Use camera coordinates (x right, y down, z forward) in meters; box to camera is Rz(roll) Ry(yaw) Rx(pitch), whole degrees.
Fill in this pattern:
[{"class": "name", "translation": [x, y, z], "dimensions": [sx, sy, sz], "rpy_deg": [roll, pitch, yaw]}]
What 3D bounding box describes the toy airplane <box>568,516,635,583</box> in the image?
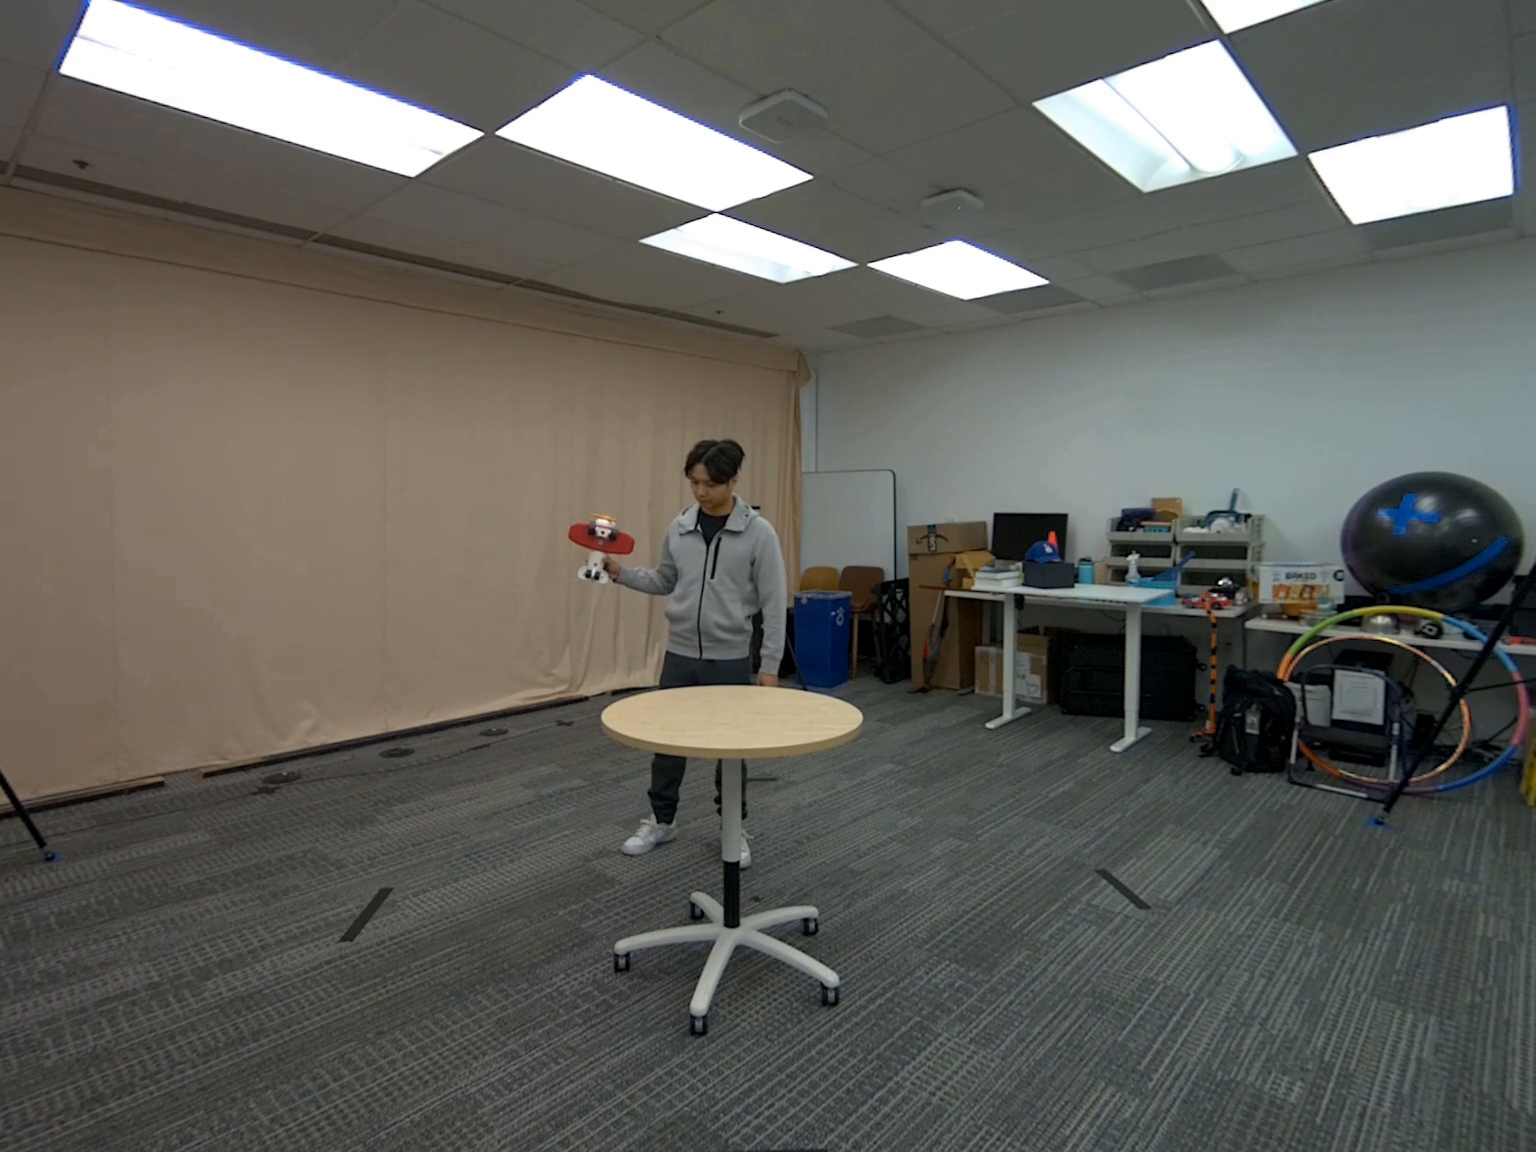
[{"class": "toy airplane", "translation": [-0.682, -0.111, 3.290], "dimensions": [0.248, 0.260, 0.158], "rpy_deg": [42, 10, -11]}]
